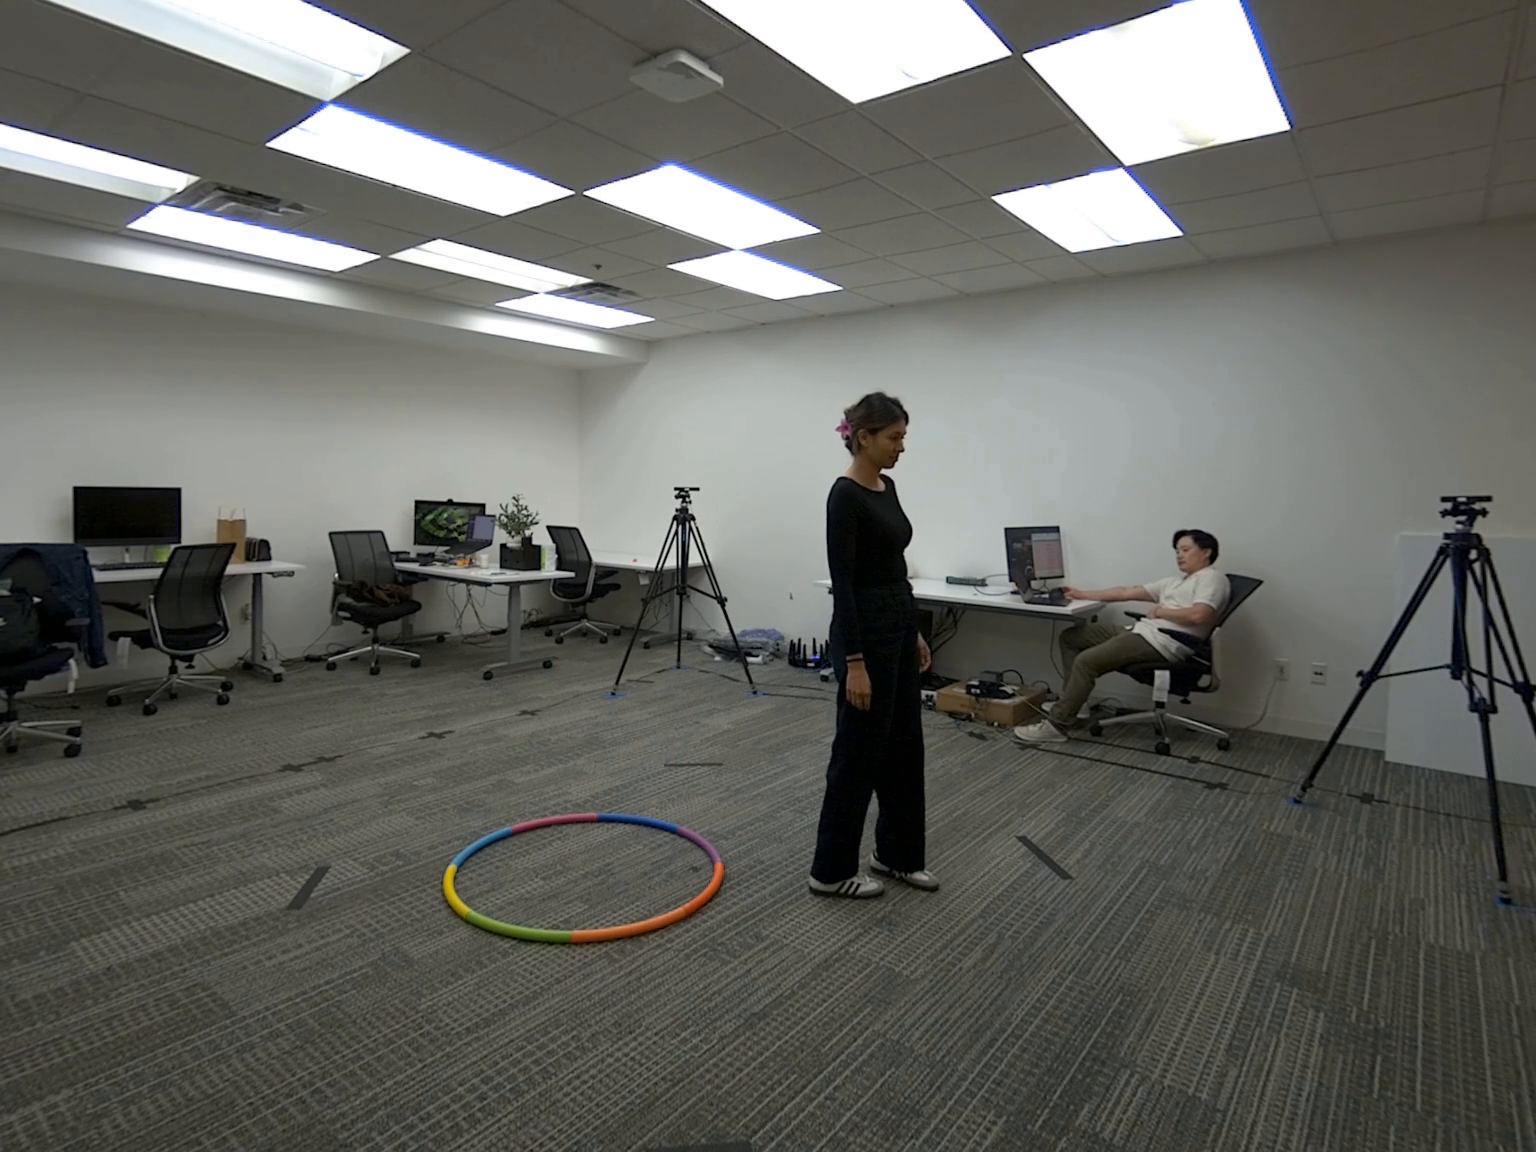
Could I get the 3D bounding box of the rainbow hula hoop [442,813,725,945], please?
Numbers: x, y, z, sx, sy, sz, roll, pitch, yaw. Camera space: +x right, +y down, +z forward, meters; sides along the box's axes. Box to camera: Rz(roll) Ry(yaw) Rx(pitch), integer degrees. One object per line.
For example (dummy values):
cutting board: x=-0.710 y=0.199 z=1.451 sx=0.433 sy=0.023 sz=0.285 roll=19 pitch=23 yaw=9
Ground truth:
rainbow hula hoop: x=-0.651 y=1.031 z=3.058 sx=0.978 sy=0.035 sz=0.984 roll=1 pitch=6 yaw=-2
